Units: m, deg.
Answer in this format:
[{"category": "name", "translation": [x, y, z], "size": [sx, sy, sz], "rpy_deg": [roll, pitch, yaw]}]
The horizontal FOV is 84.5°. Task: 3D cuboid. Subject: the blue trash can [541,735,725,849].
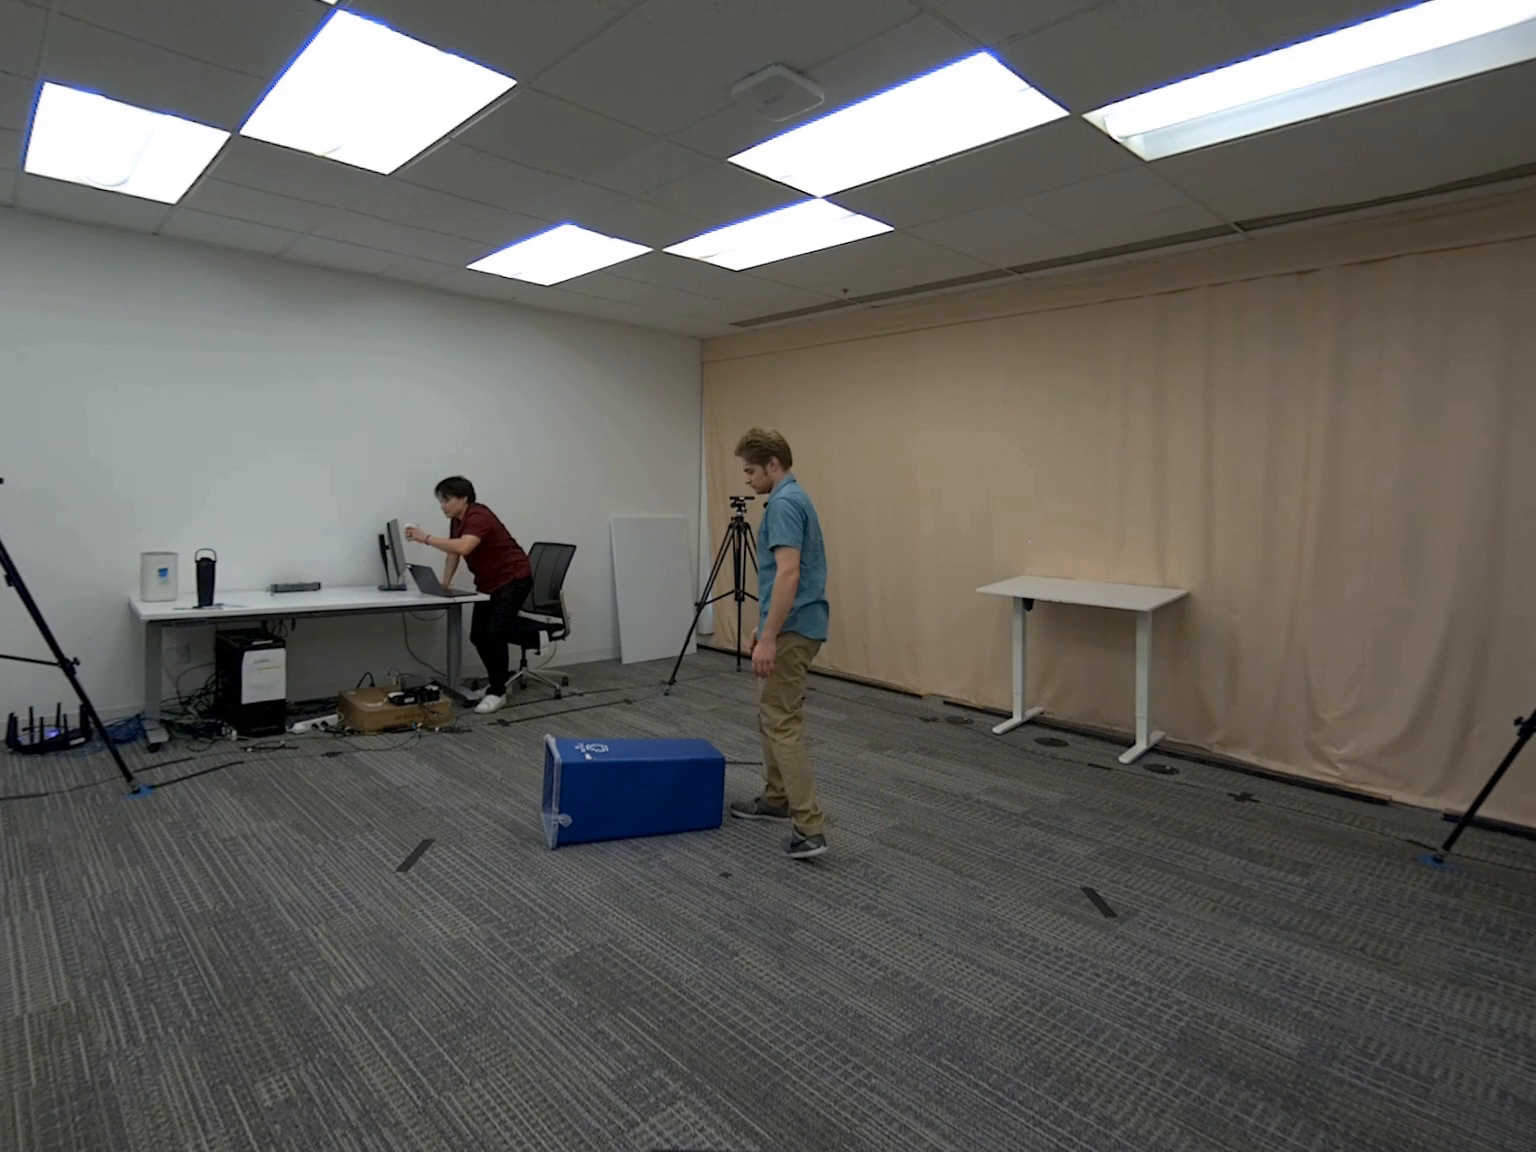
[{"category": "blue trash can", "translation": [-0.581, 0.887, 3.556], "size": [0.702, 0.377, 0.381], "rpy_deg": [3, 4, -21]}]
